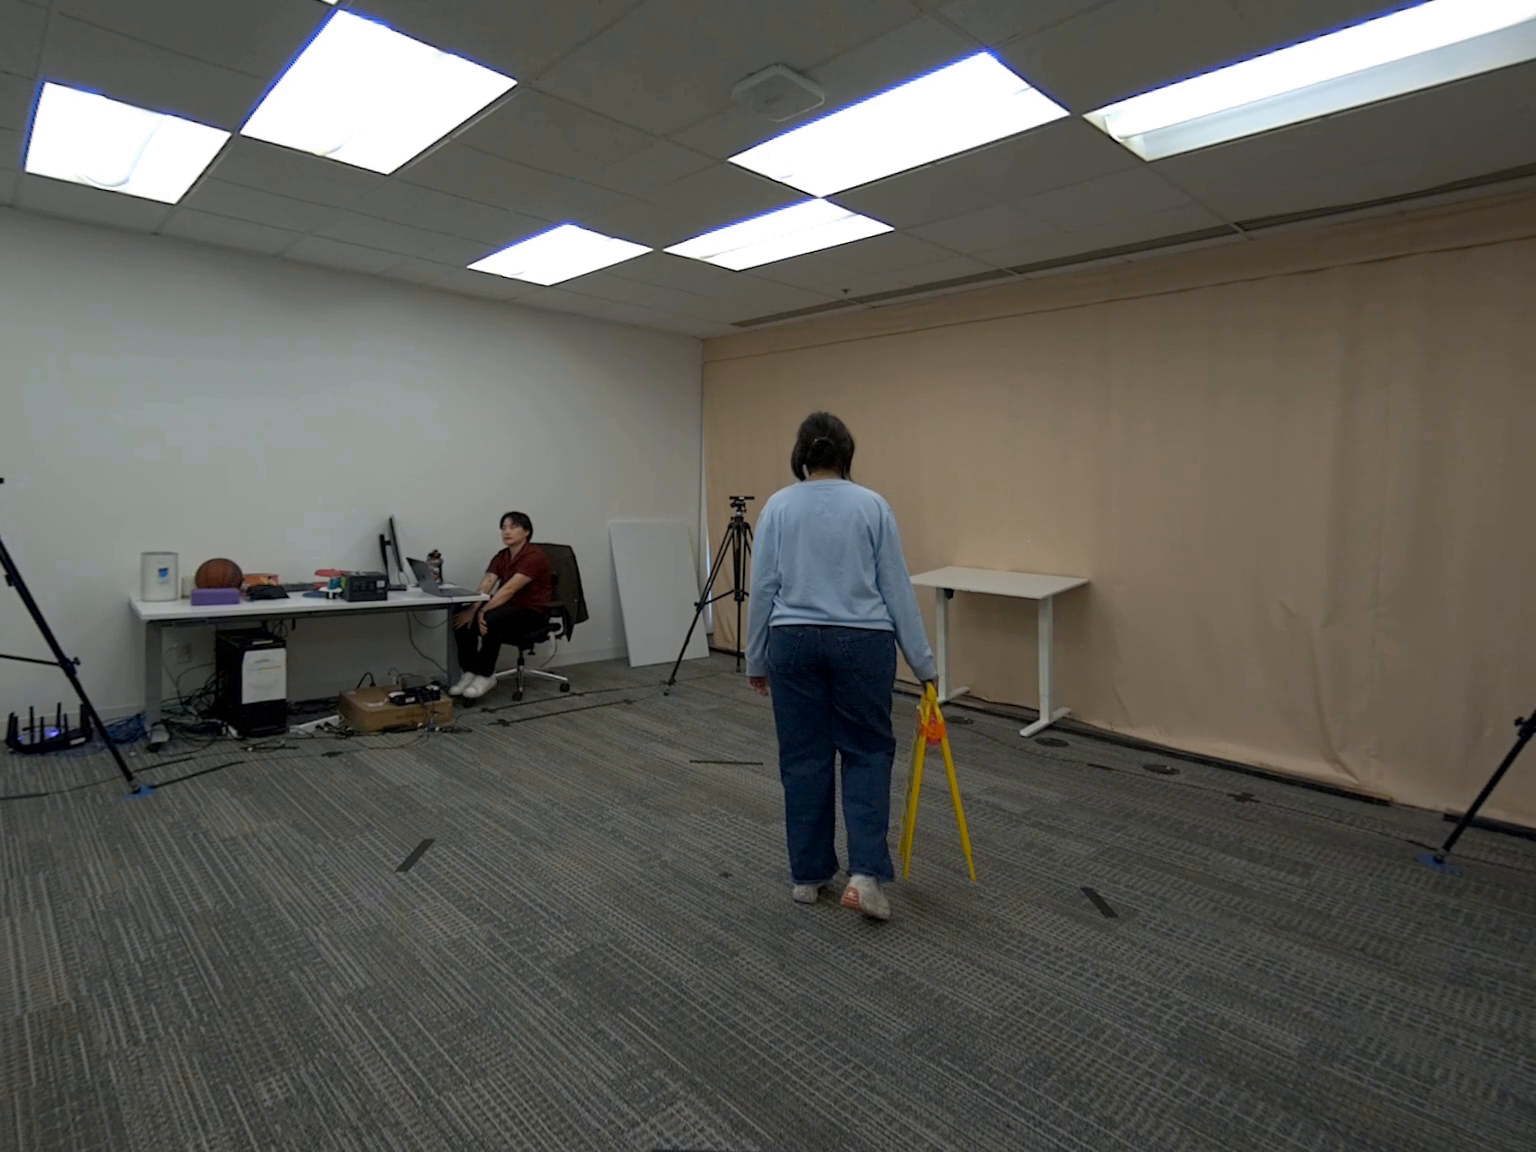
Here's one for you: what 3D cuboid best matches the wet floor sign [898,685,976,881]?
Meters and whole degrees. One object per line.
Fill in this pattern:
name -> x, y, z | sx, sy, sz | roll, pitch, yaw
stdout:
wet floor sign -> 0.569, 0.687, 2.947 | 0.292, 0.645, 0.281 | -1, 2, 8
